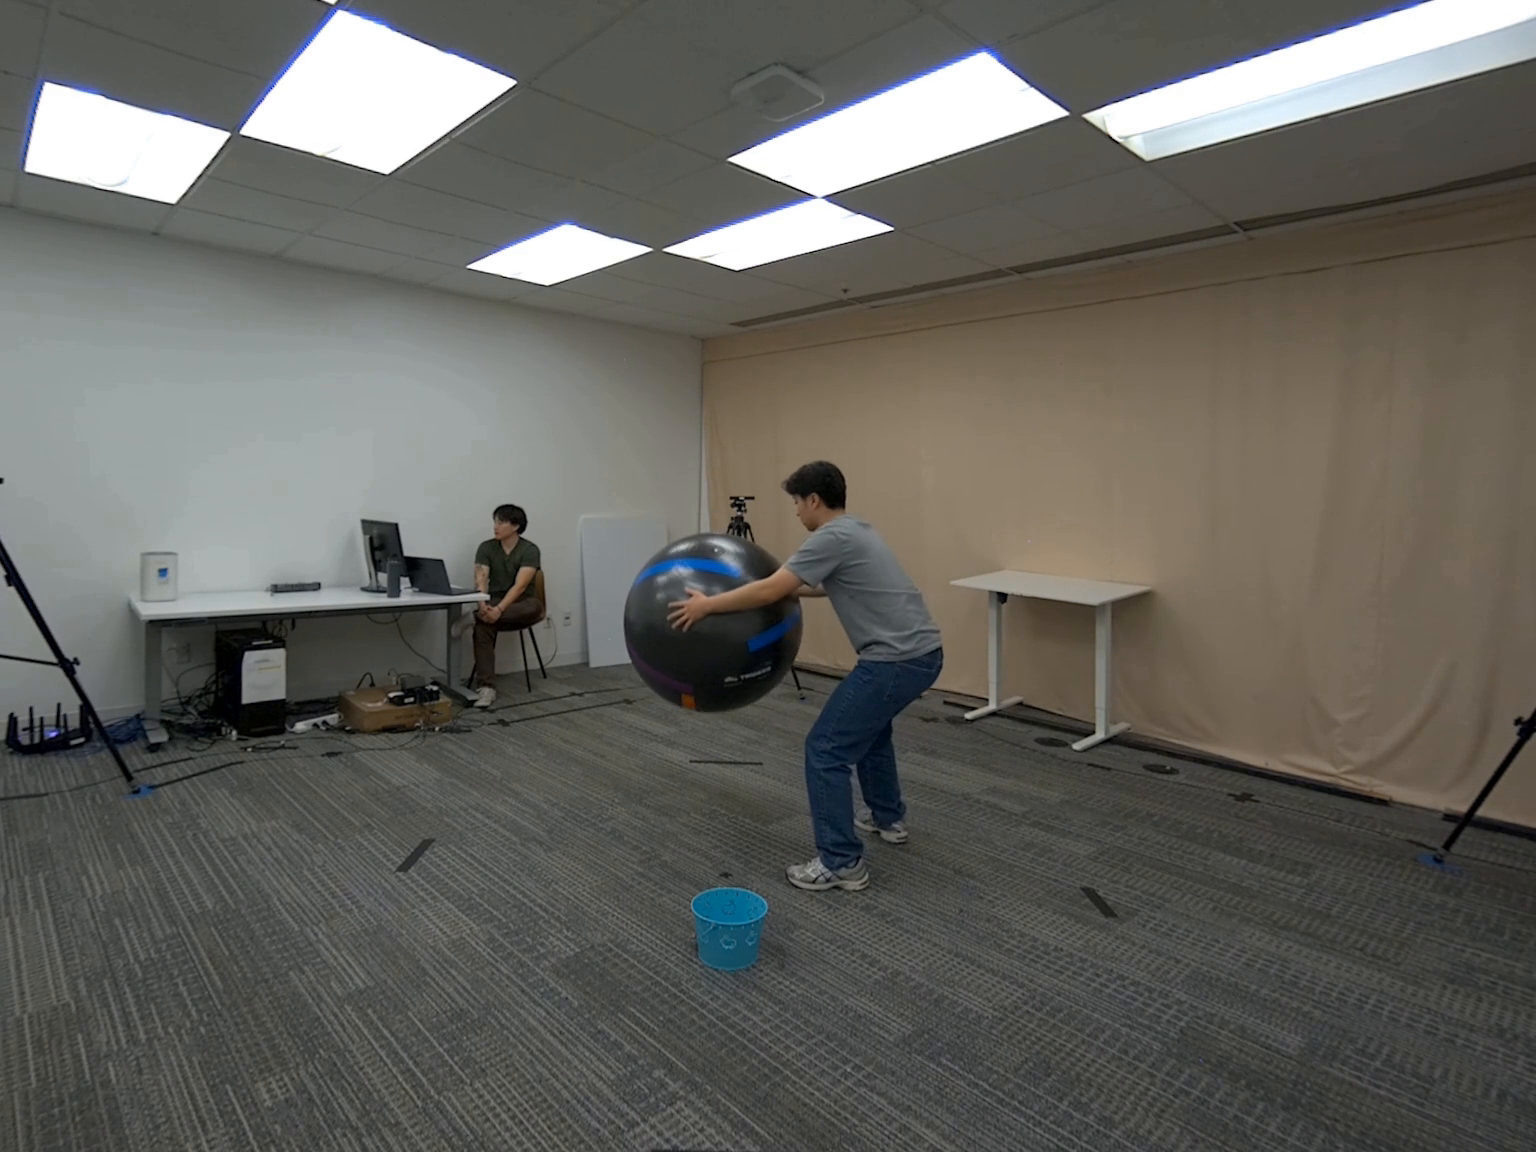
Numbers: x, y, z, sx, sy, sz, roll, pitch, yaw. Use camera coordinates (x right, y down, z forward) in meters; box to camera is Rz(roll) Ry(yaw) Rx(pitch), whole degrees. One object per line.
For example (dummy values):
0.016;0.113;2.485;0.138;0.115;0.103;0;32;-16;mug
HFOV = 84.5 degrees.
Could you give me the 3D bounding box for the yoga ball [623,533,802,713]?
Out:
-0.230;0.198;3.579;0.757;0.756;0.761;1;4;-1;yoga ball
